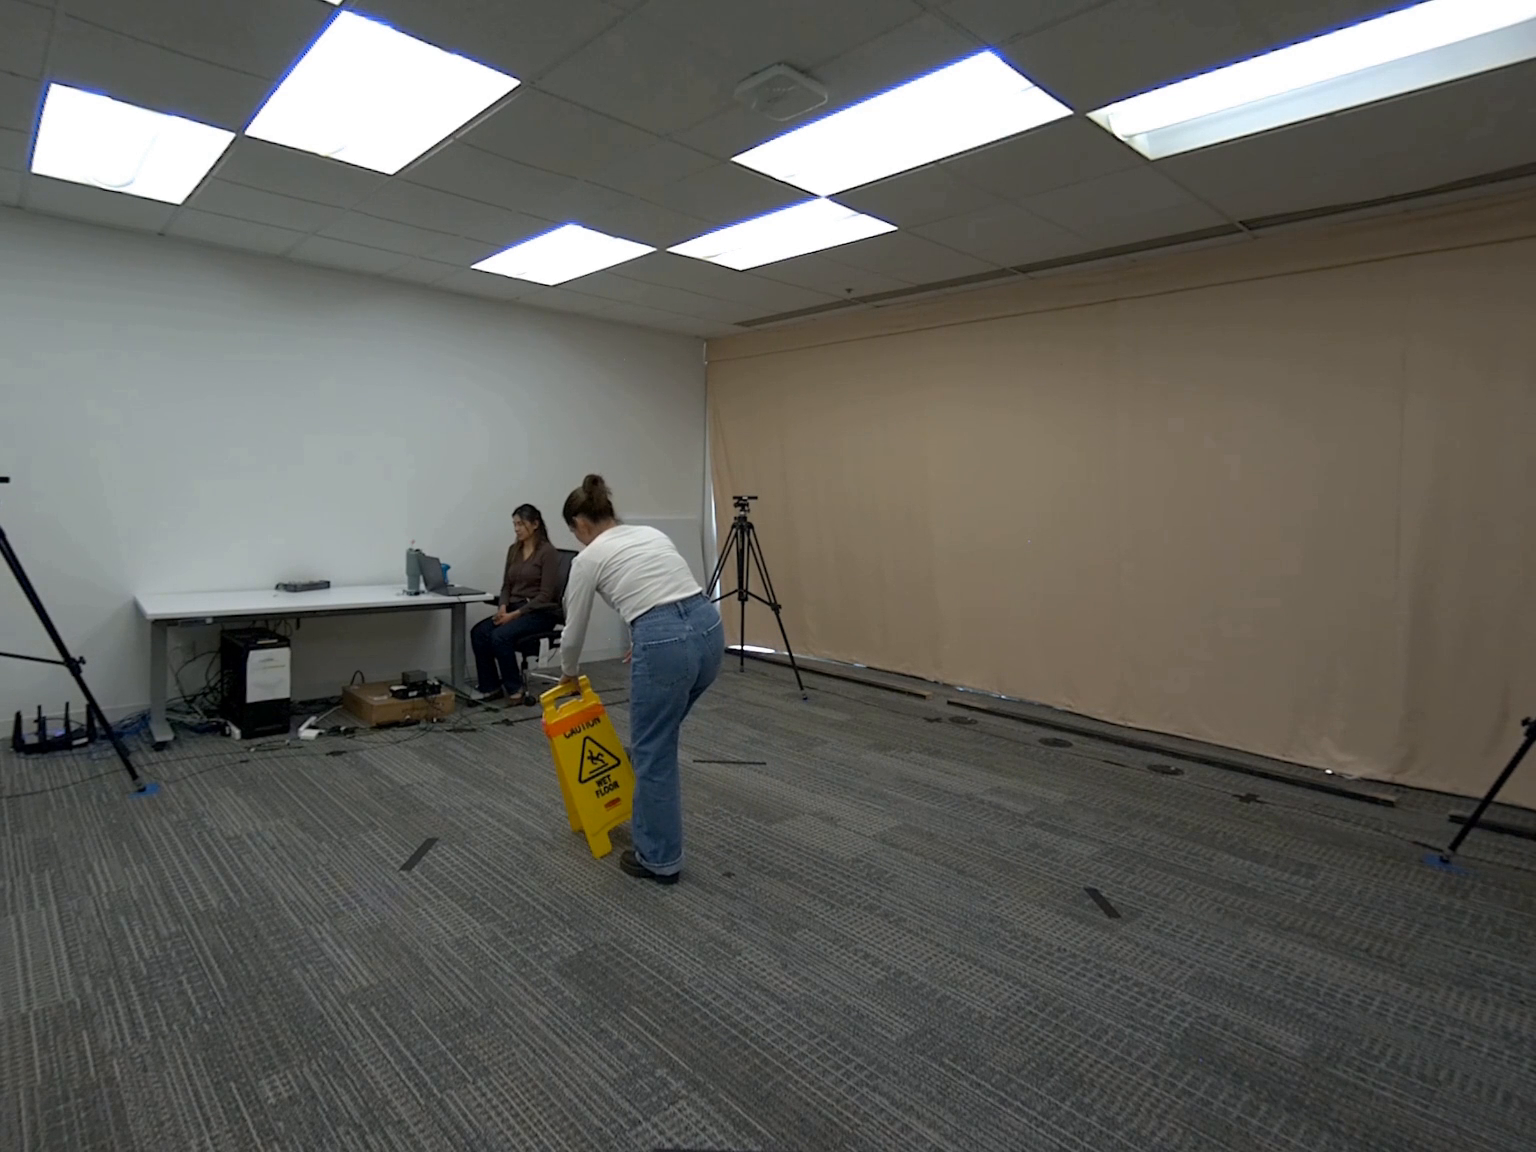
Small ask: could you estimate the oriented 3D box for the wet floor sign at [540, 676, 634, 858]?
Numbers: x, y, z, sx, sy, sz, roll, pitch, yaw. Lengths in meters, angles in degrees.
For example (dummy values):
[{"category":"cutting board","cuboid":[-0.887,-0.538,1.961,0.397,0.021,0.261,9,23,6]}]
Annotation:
[{"category":"wet floor sign","cuboid":[-0.716,0.724,3.337,0.279,0.638,0.296,-24,15,-26]}]
